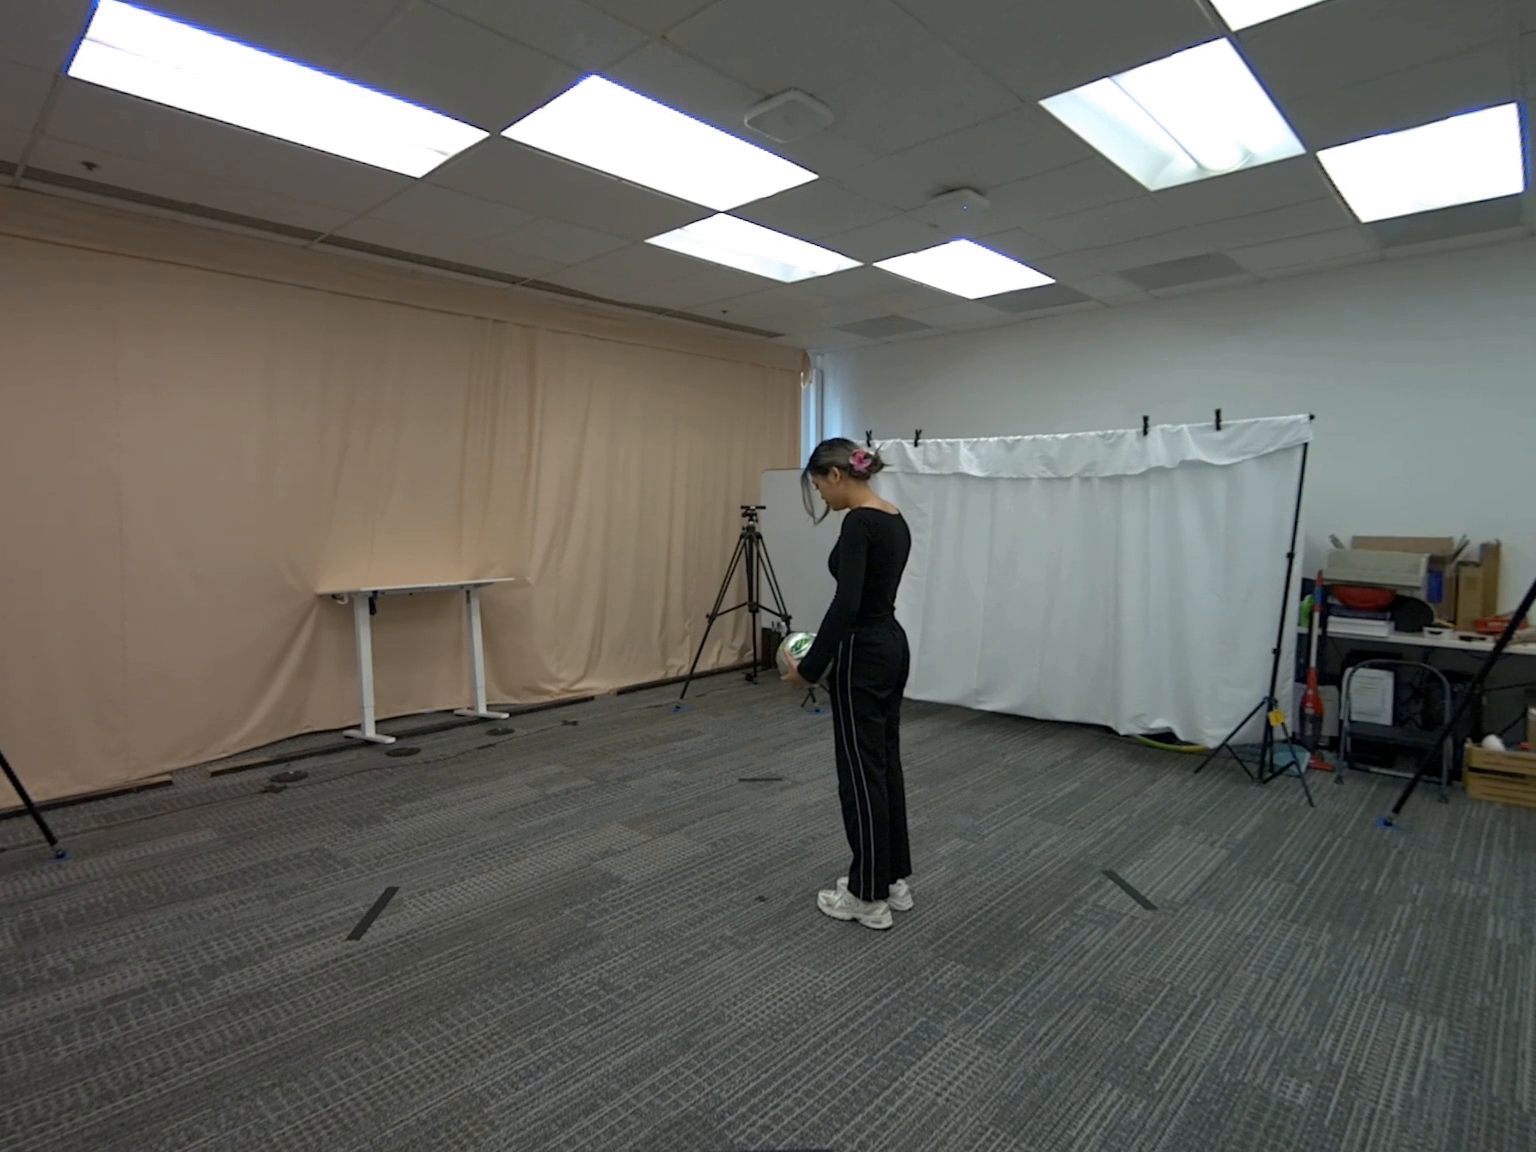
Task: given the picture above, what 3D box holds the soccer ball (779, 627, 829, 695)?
[{"bbox_3d":[0.138,0.272,2.772,0.187,0.187,0.188,0,4,-2],"label":"soccer ball"}]
